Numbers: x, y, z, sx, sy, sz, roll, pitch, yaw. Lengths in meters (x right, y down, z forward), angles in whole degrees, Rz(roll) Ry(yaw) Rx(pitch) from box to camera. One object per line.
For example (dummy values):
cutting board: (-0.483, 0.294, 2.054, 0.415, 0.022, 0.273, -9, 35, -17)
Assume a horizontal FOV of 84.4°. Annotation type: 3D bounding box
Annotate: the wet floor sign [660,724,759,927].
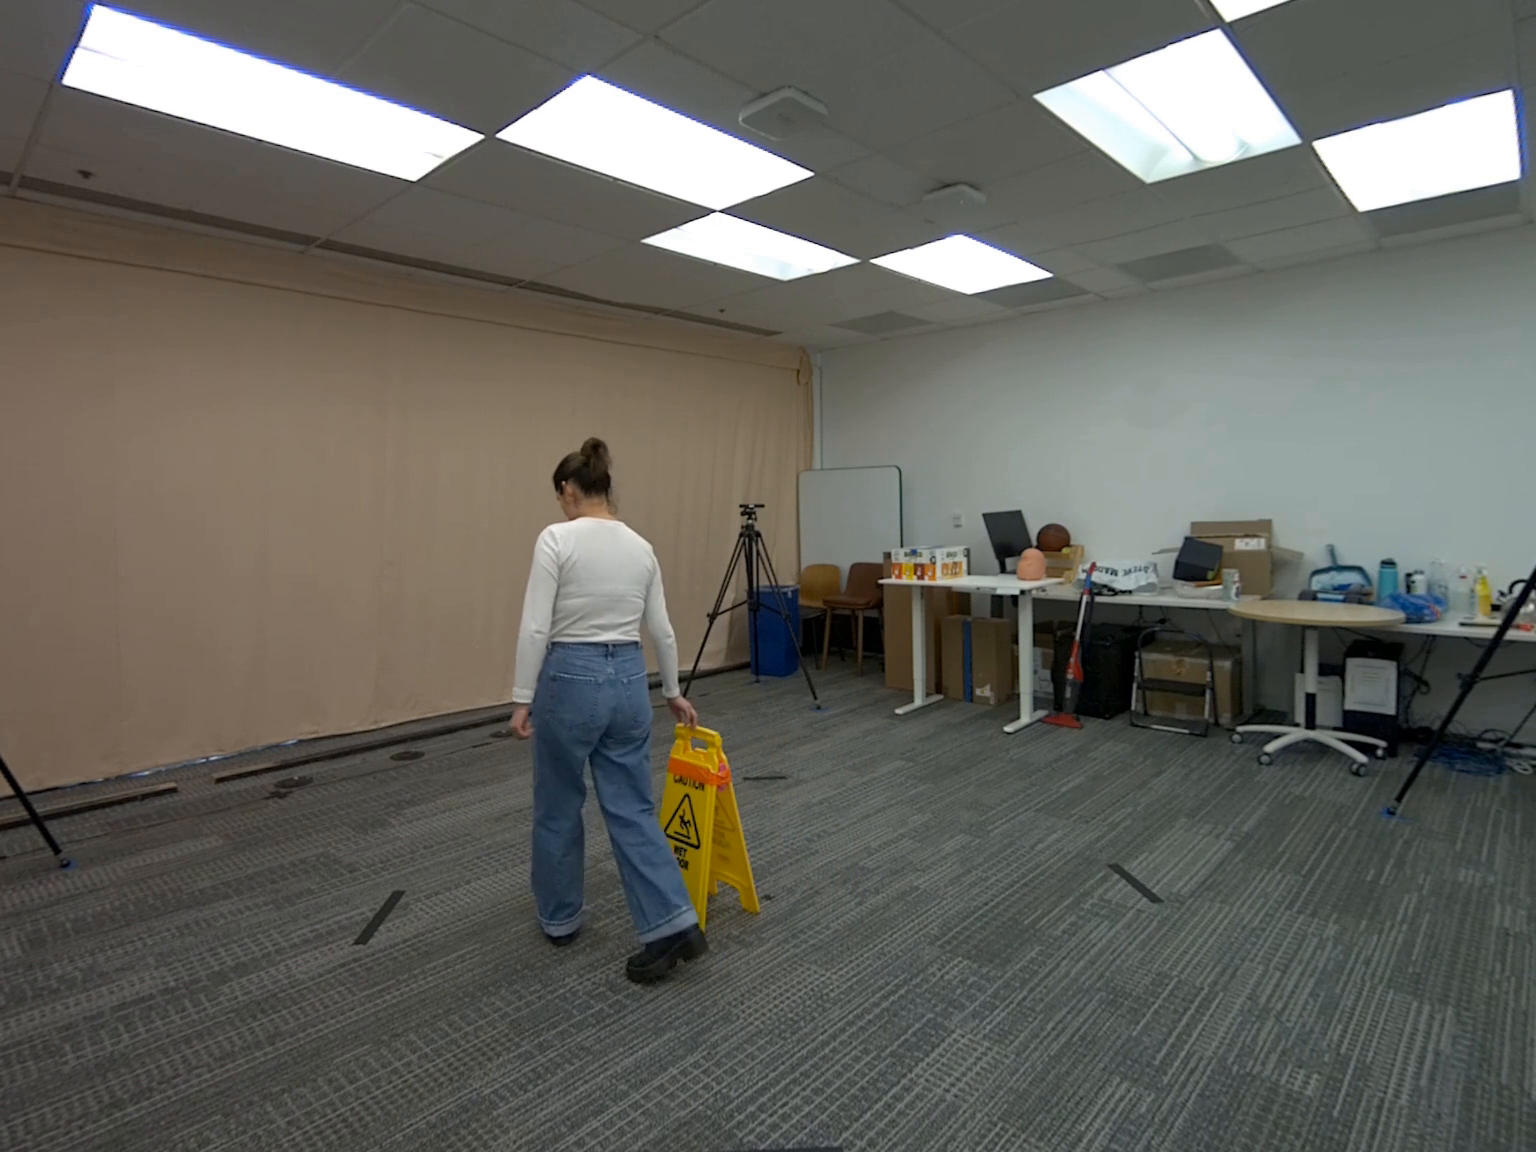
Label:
wet floor sign: (-0.230, 0.831, 2.846, 0.291, 0.645, 0.281, 2, 4, 43)
